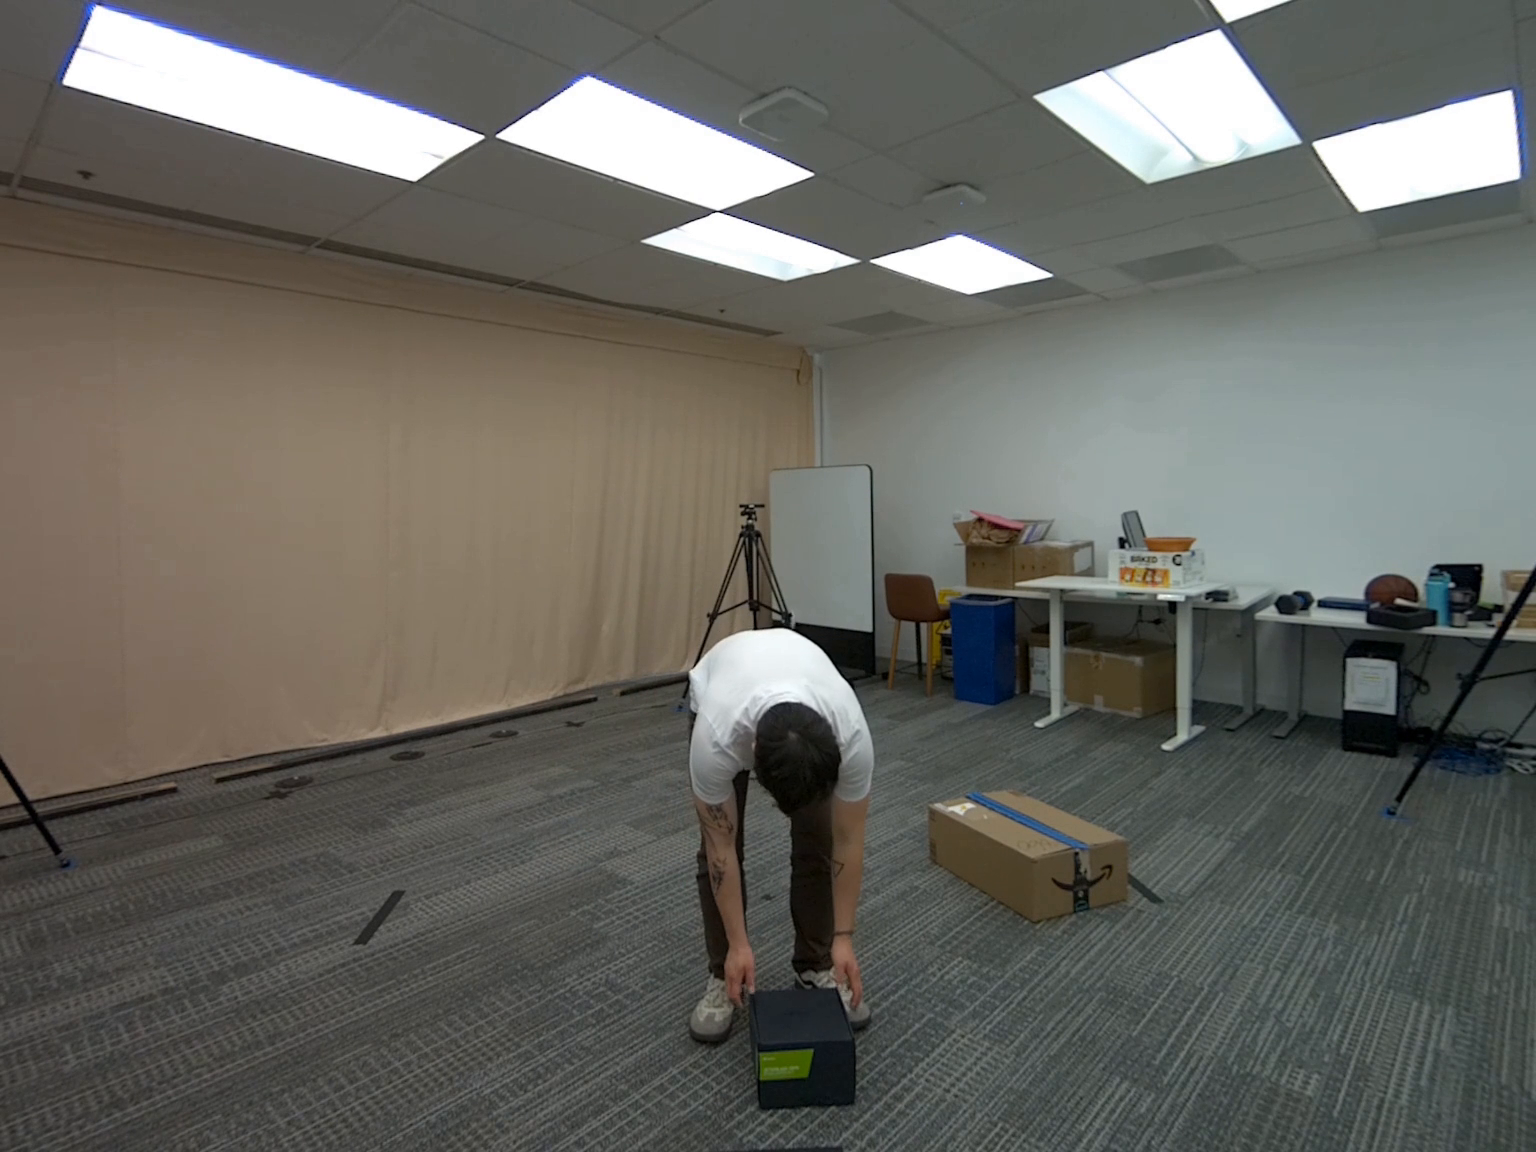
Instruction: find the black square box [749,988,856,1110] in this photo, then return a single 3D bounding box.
[{"bbox_3d":[0.080,1.134,2.044,0.227,0.155,0.218,-1,4,-5],"label":"black square box"}]
